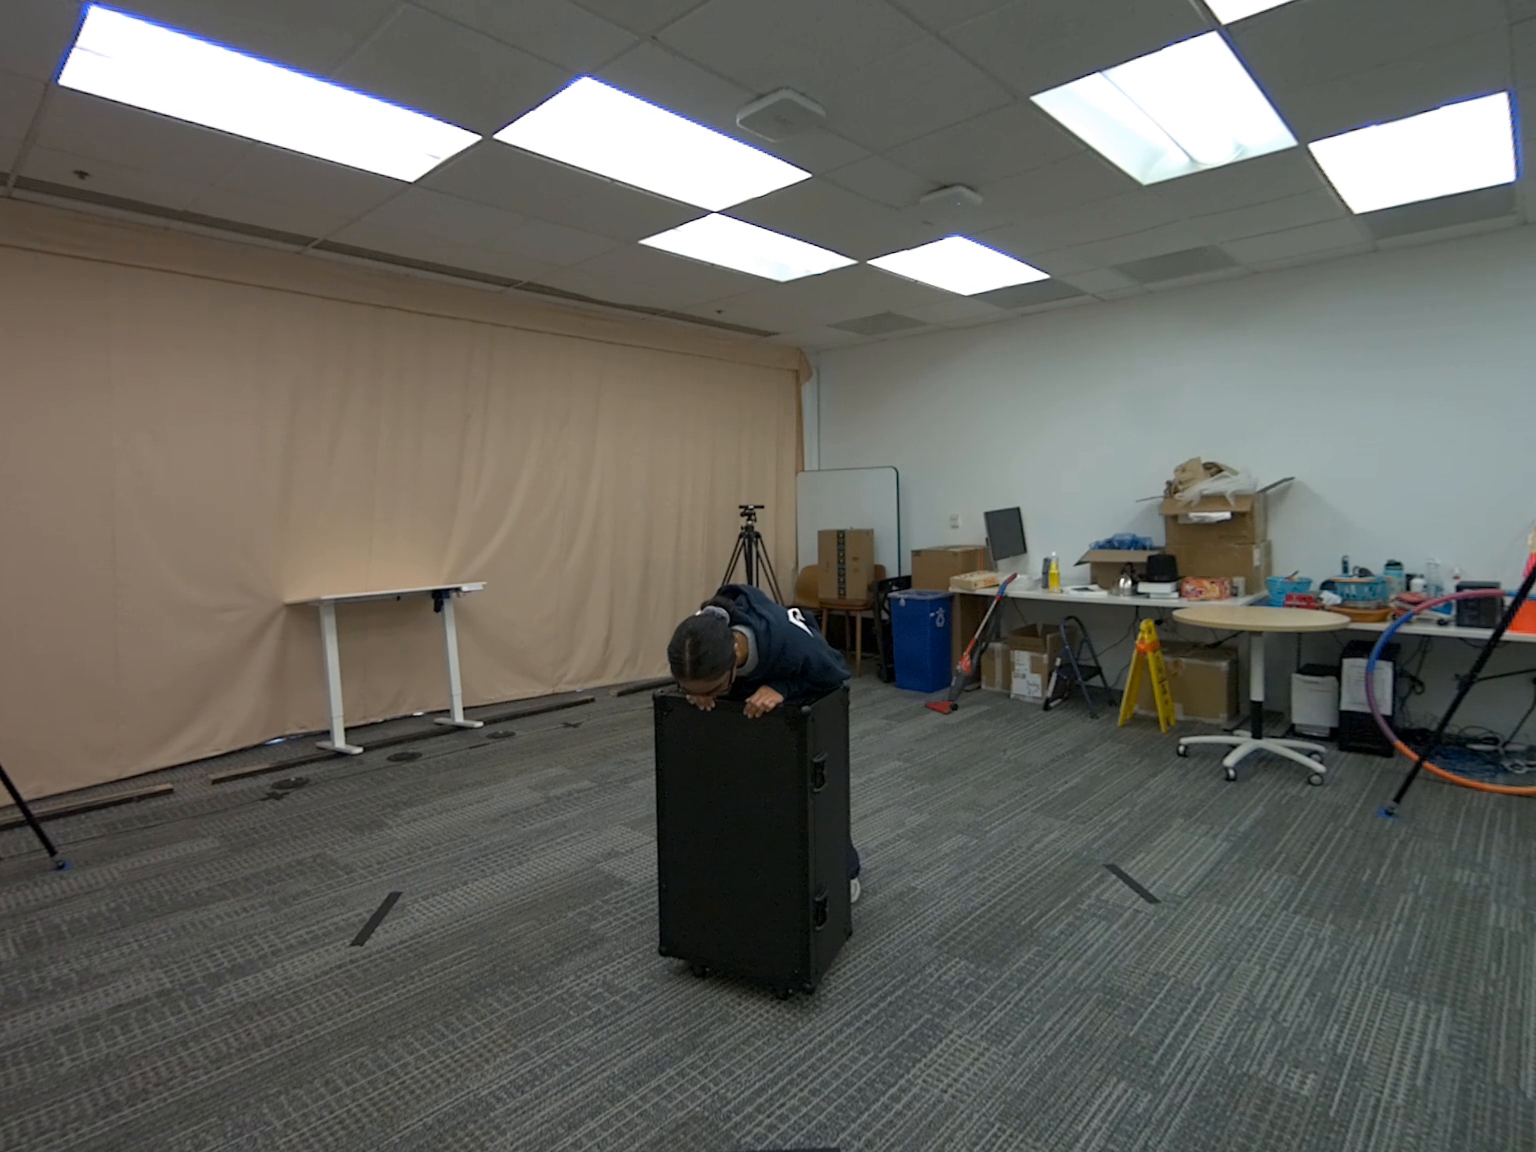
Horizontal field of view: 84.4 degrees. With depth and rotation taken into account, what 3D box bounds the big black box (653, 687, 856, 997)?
[{"bbox_3d":[-0.041,0.759,2.524,0.535,0.860,0.387,0,3,26],"label":"big black box"}]
